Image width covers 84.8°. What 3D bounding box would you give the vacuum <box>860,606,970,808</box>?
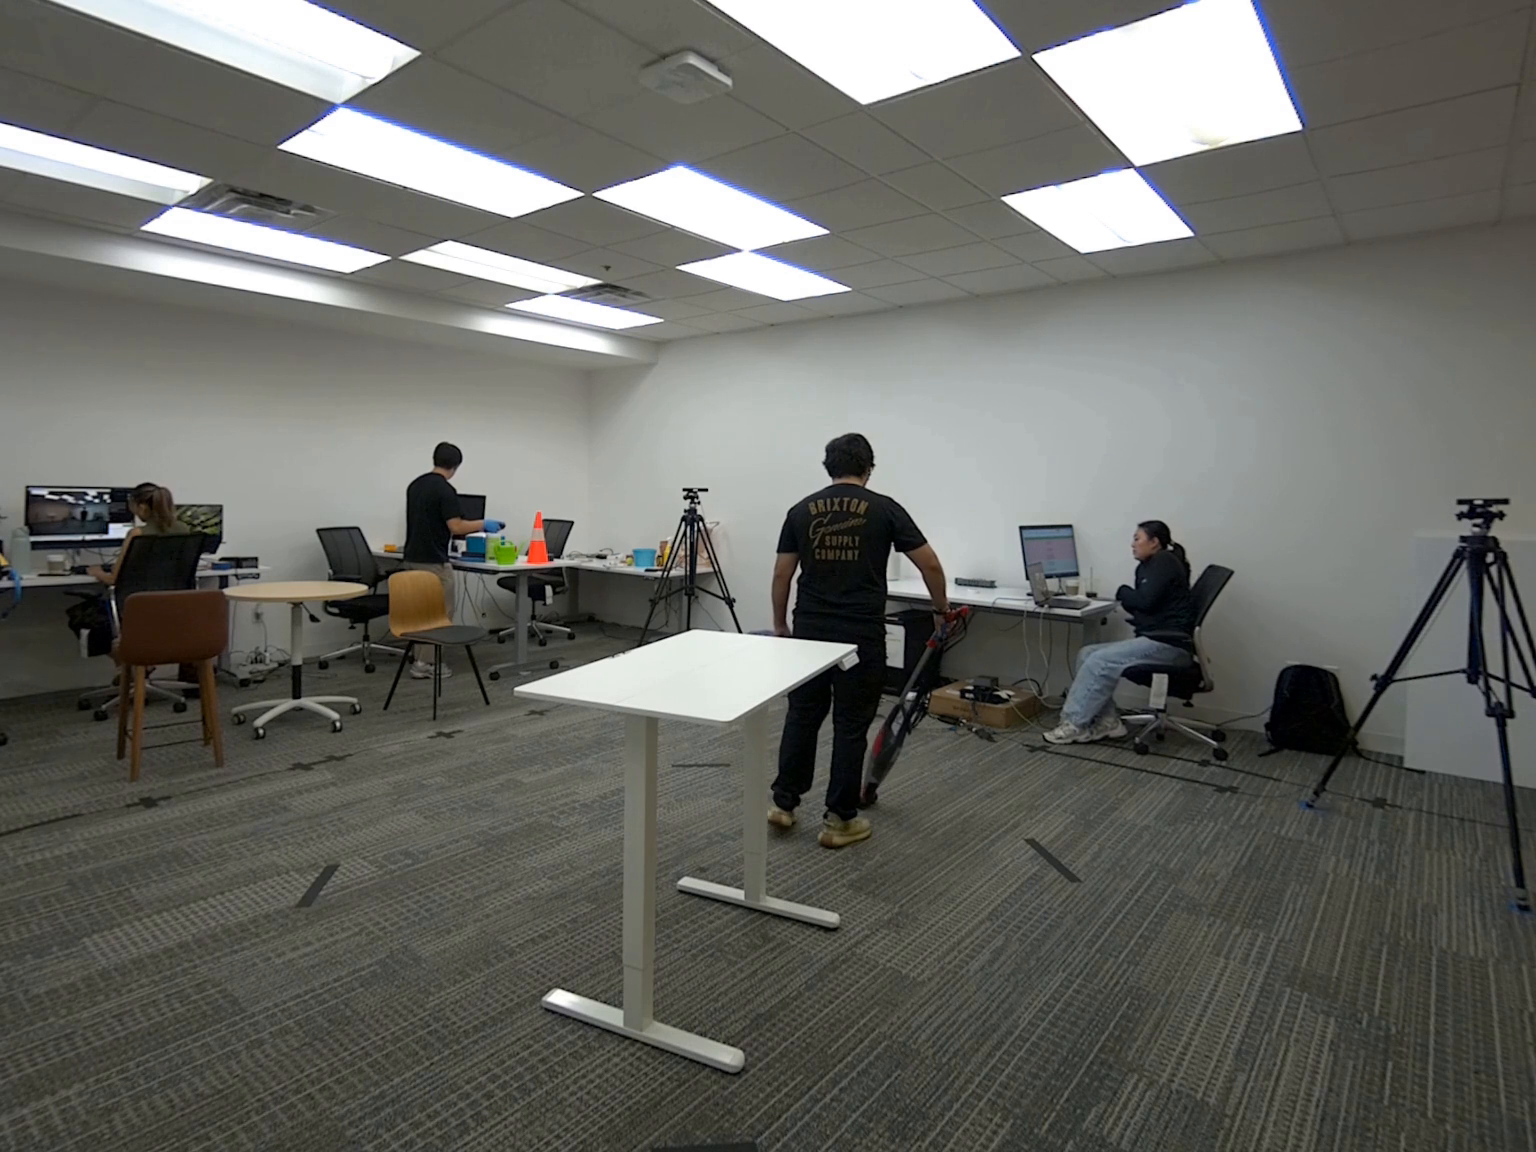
[{"bbox_3d":[0.598,0.565,3.641,0.244,1.040,0.150,0,33,-47],"label":"vacuum"}]
